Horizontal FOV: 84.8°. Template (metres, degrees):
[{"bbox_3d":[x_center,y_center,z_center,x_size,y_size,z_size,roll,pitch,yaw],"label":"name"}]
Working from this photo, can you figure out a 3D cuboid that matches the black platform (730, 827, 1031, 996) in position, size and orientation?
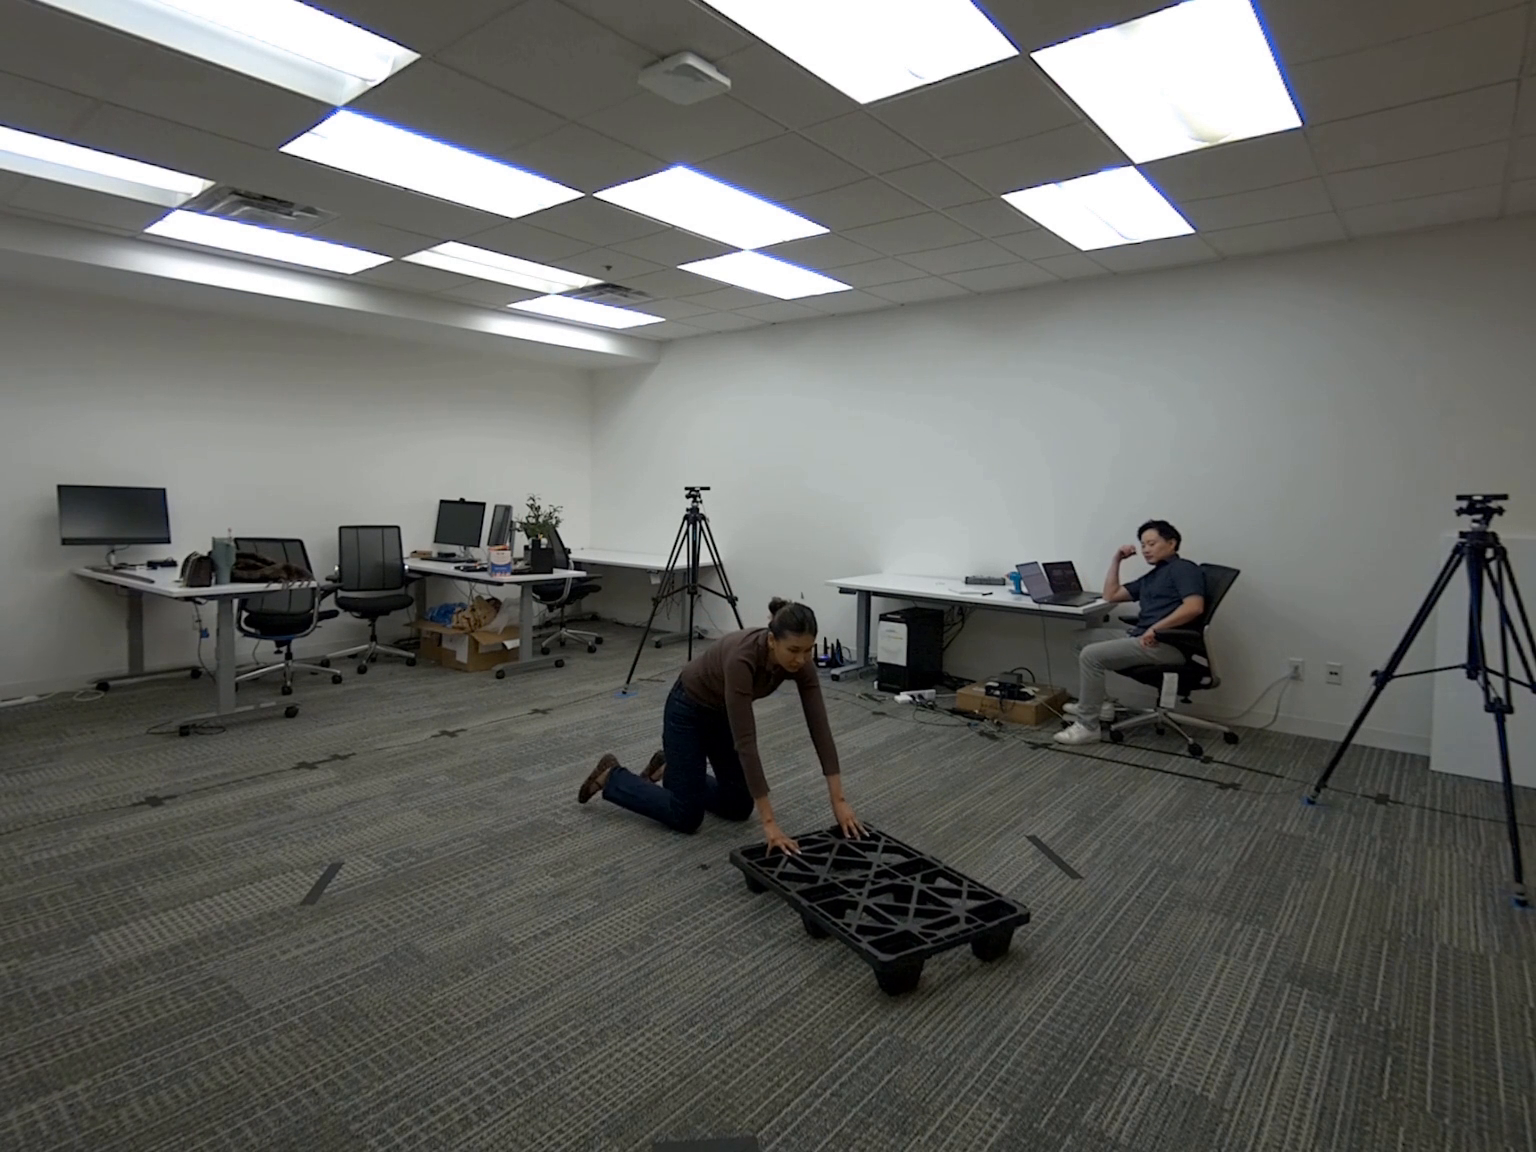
[{"bbox_3d":[0.323,1.041,2.772,0.588,0.143,0.832,-2,7,-33],"label":"black platform"}]
